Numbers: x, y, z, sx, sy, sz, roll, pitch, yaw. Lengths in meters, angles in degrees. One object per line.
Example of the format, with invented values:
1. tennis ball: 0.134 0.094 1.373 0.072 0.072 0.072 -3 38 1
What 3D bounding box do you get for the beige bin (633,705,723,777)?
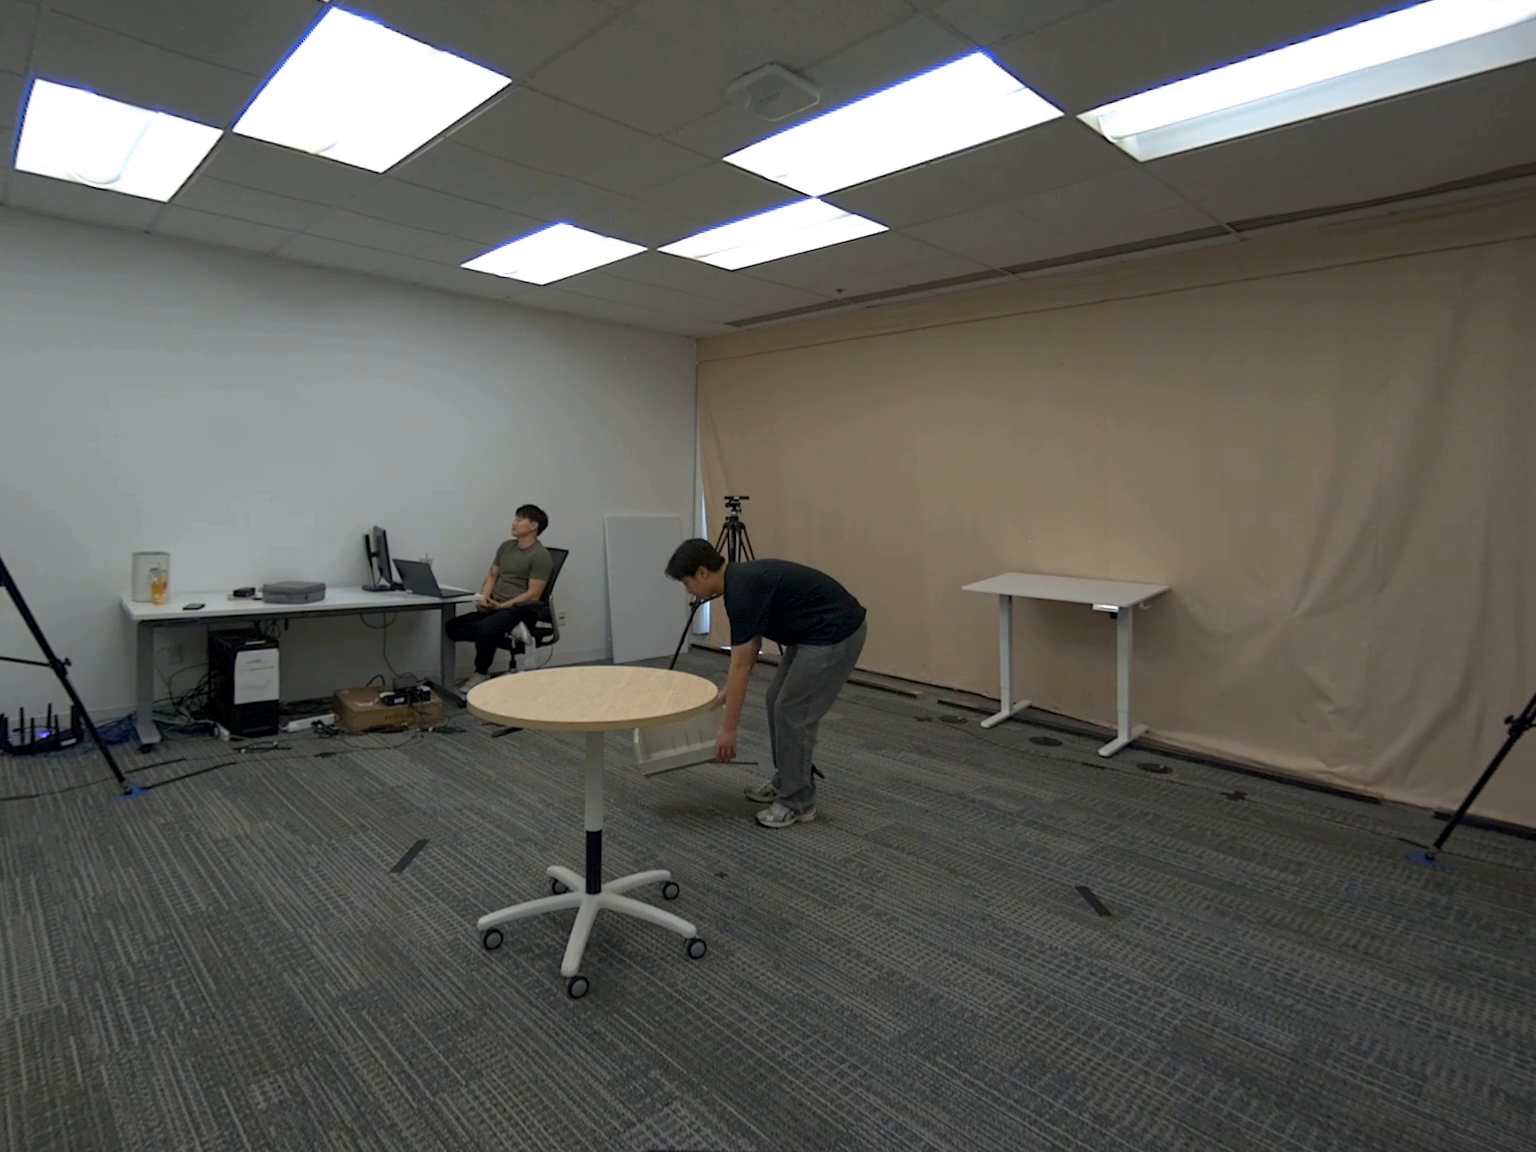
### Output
1. beige bin: -0.371 0.723 3.684 0.421 0.189 0.379 -12 2 -6
